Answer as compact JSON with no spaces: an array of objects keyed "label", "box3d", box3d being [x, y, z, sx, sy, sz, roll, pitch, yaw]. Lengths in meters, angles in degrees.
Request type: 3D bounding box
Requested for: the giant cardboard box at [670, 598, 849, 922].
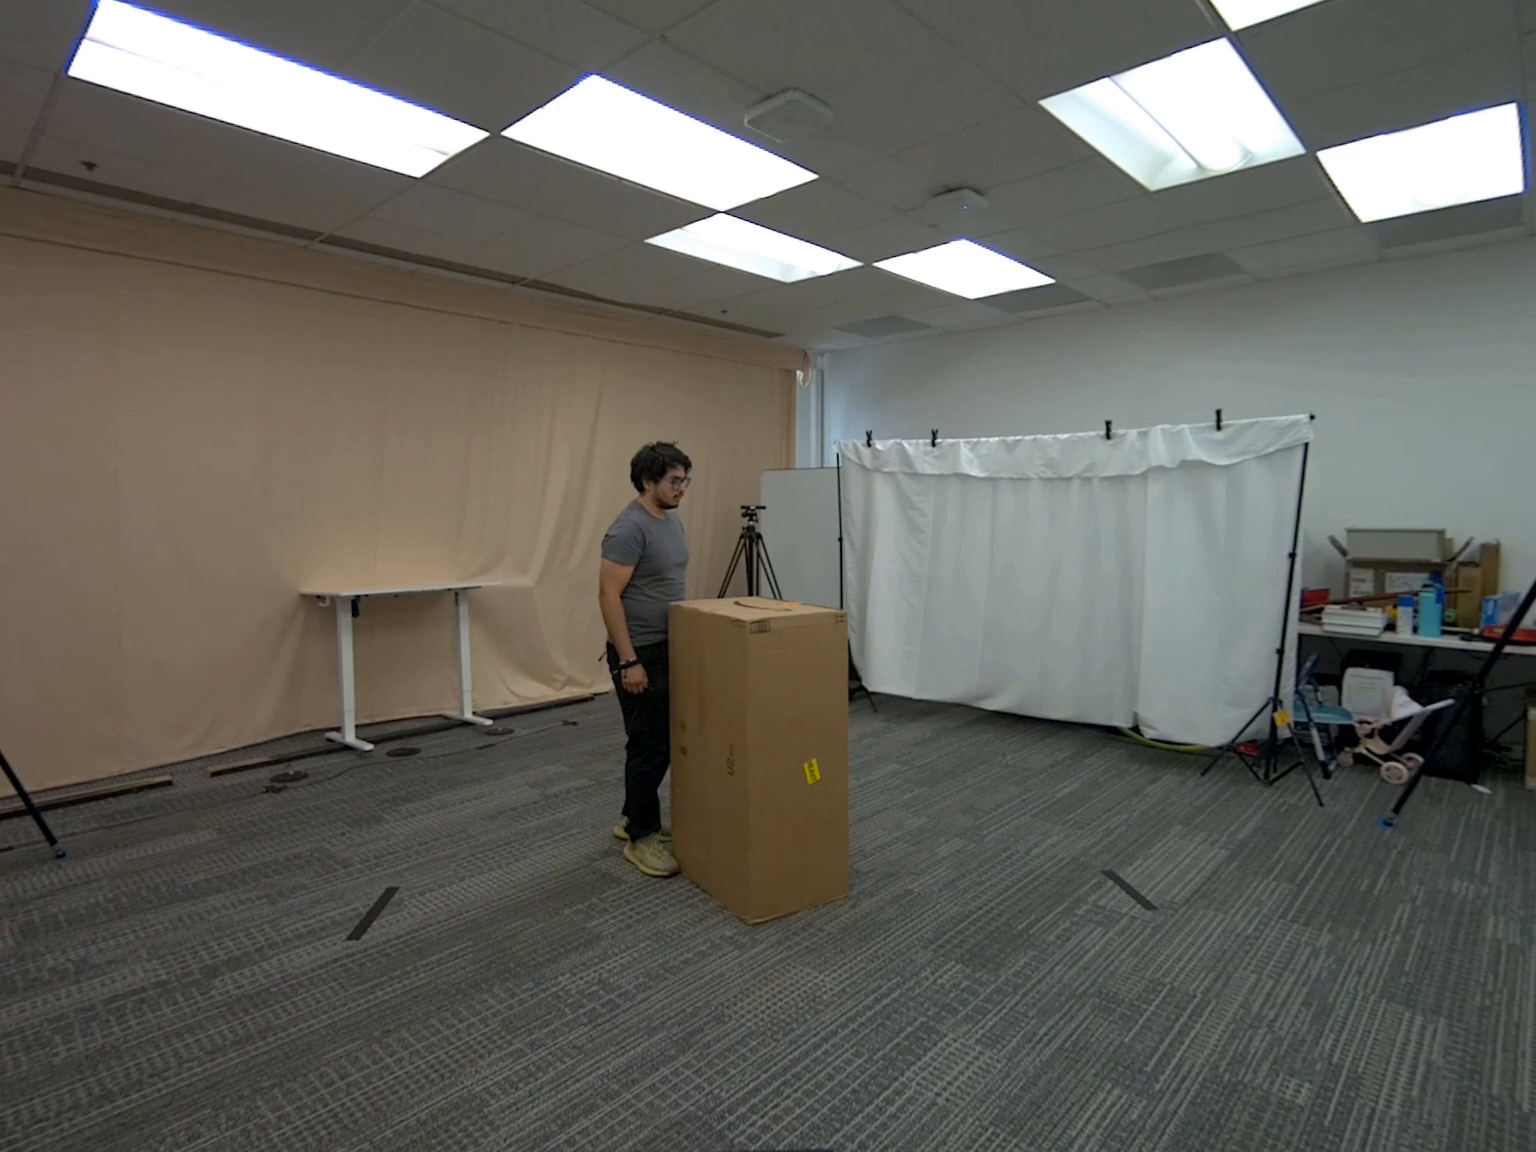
[{"label":"giant cardboard box","box3d":[-0.041,0.625,3.111,0.434,1.025,0.602,-3,4,-33]}]
